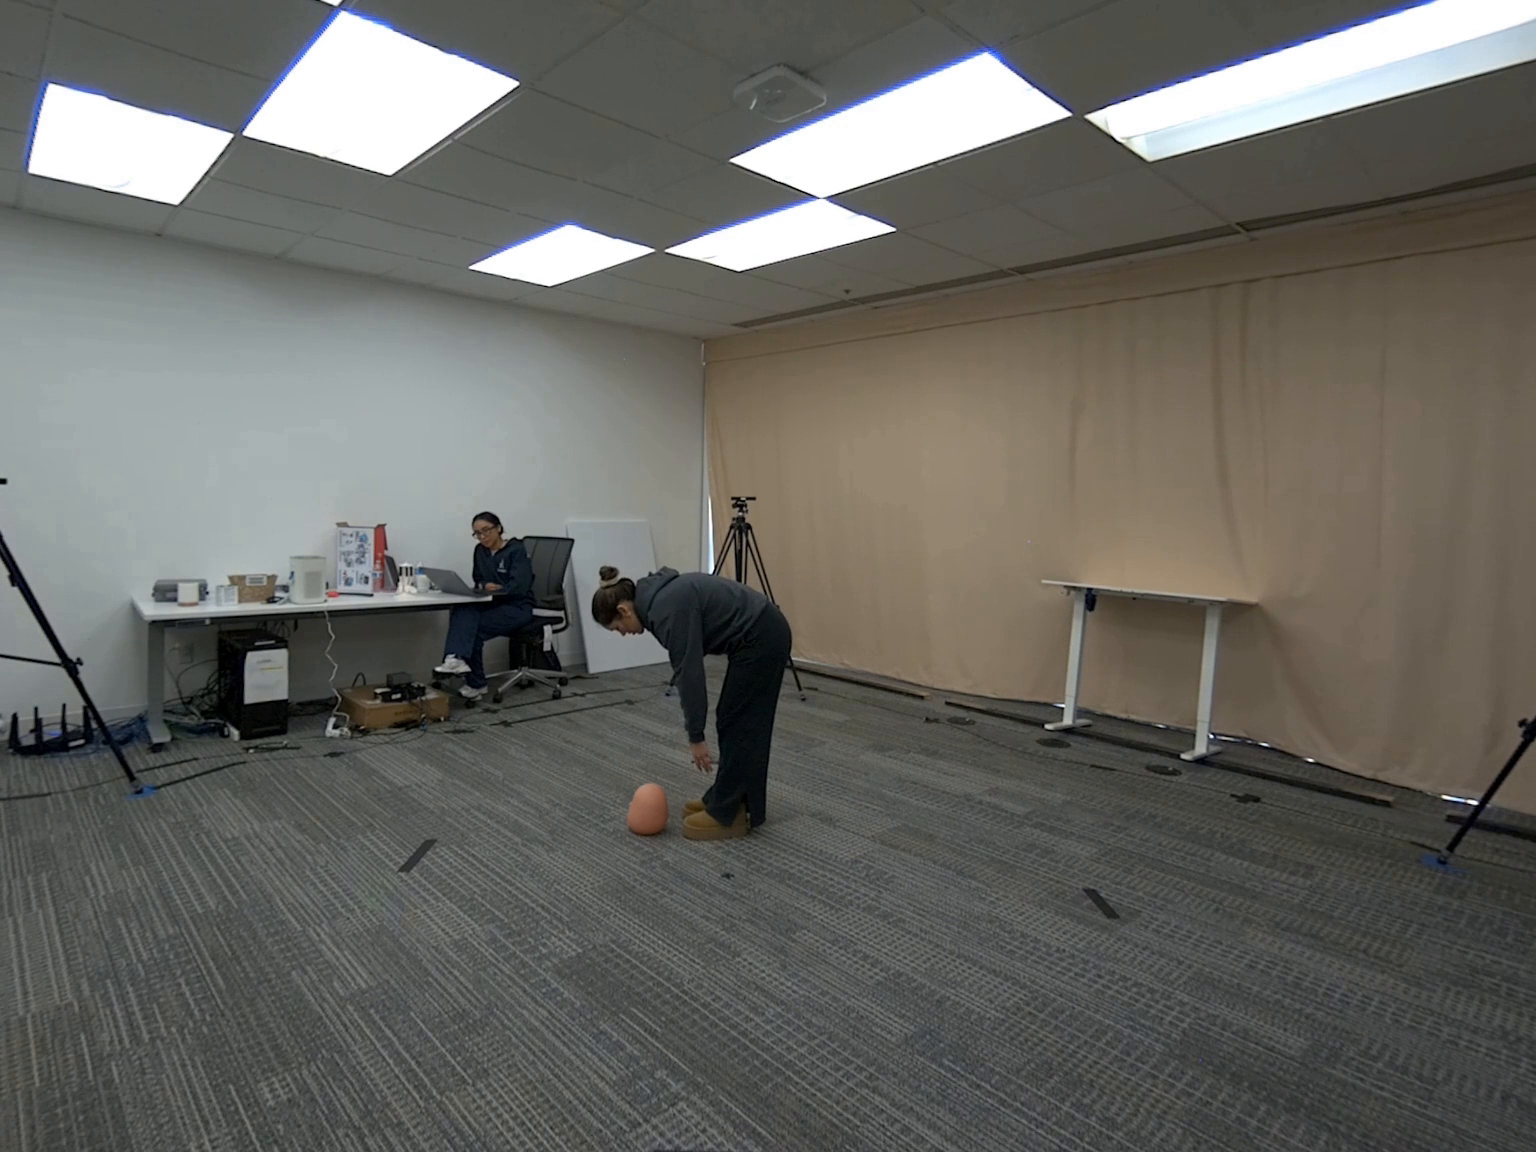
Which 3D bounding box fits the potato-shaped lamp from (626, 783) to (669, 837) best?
[{"bbox_3d":[-0.508,0.963,3.509,0.161,0.198,0.176,3,4,-37],"label":"potato-shaped lamp"}]
